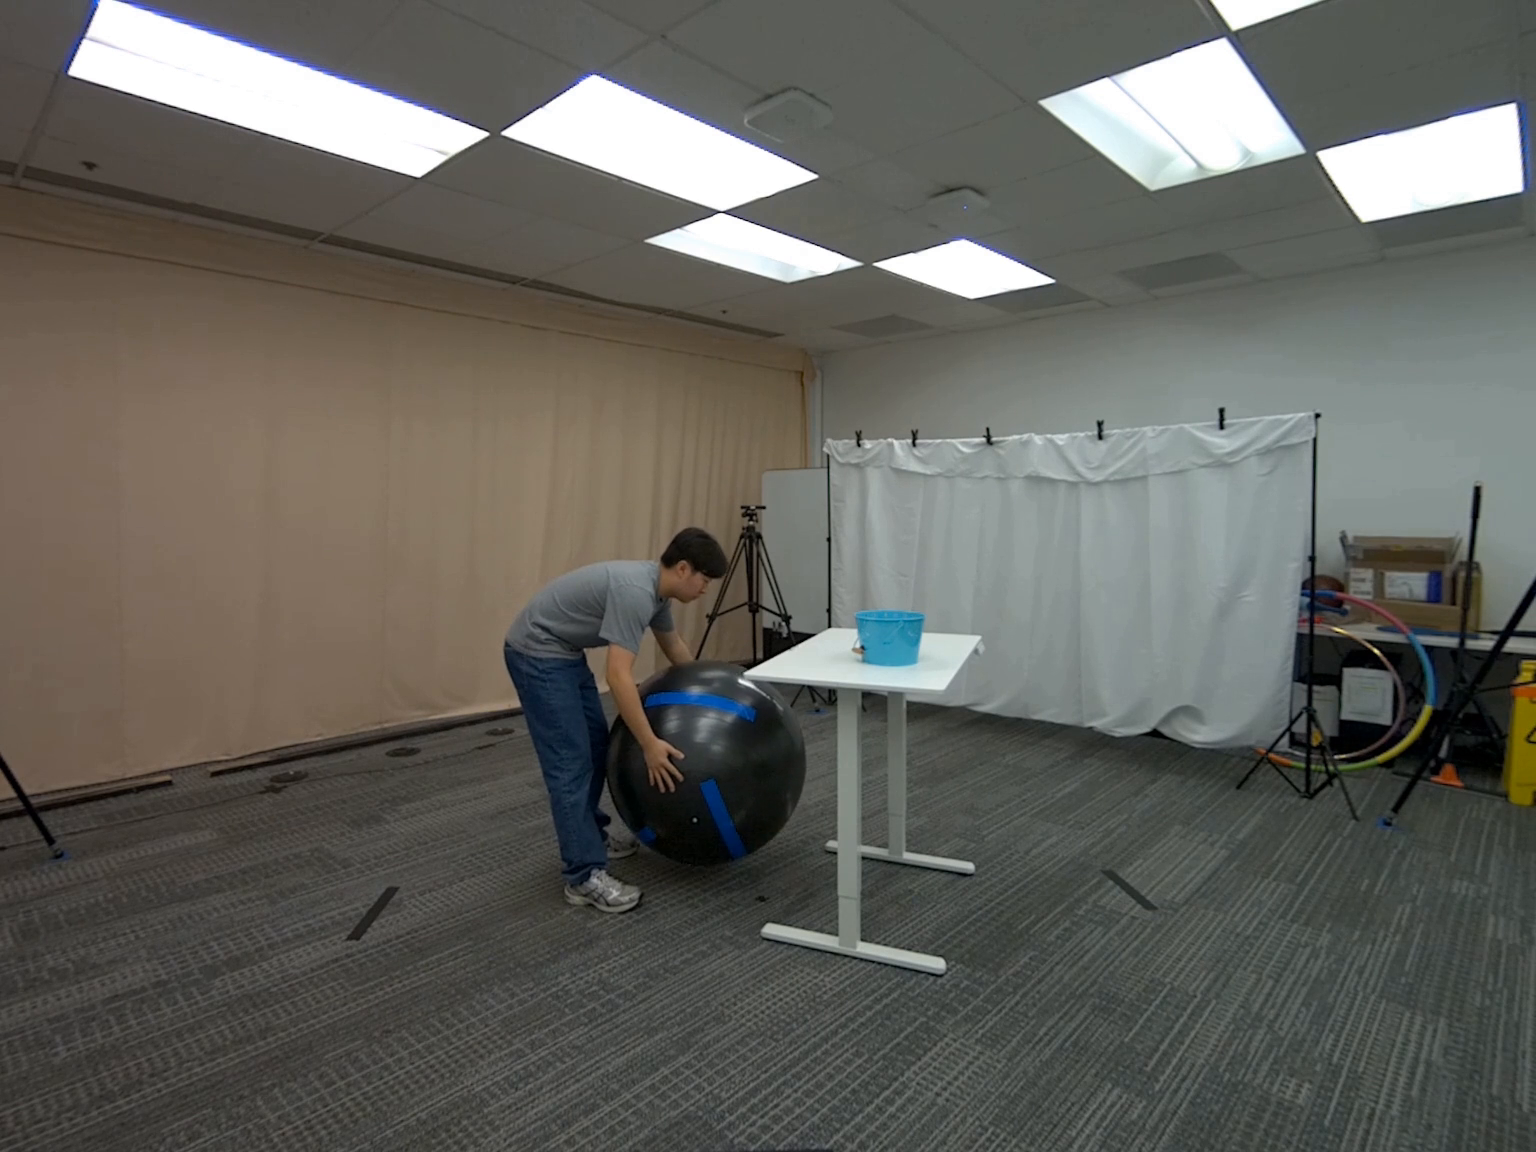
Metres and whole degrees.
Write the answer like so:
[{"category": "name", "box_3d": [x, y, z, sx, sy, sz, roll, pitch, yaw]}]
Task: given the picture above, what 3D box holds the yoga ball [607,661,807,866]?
[{"category": "yoga ball", "box_3d": [-0.241, 0.698, 3.223, 0.757, 0.756, 0.760, 0, 4, -2]}]
